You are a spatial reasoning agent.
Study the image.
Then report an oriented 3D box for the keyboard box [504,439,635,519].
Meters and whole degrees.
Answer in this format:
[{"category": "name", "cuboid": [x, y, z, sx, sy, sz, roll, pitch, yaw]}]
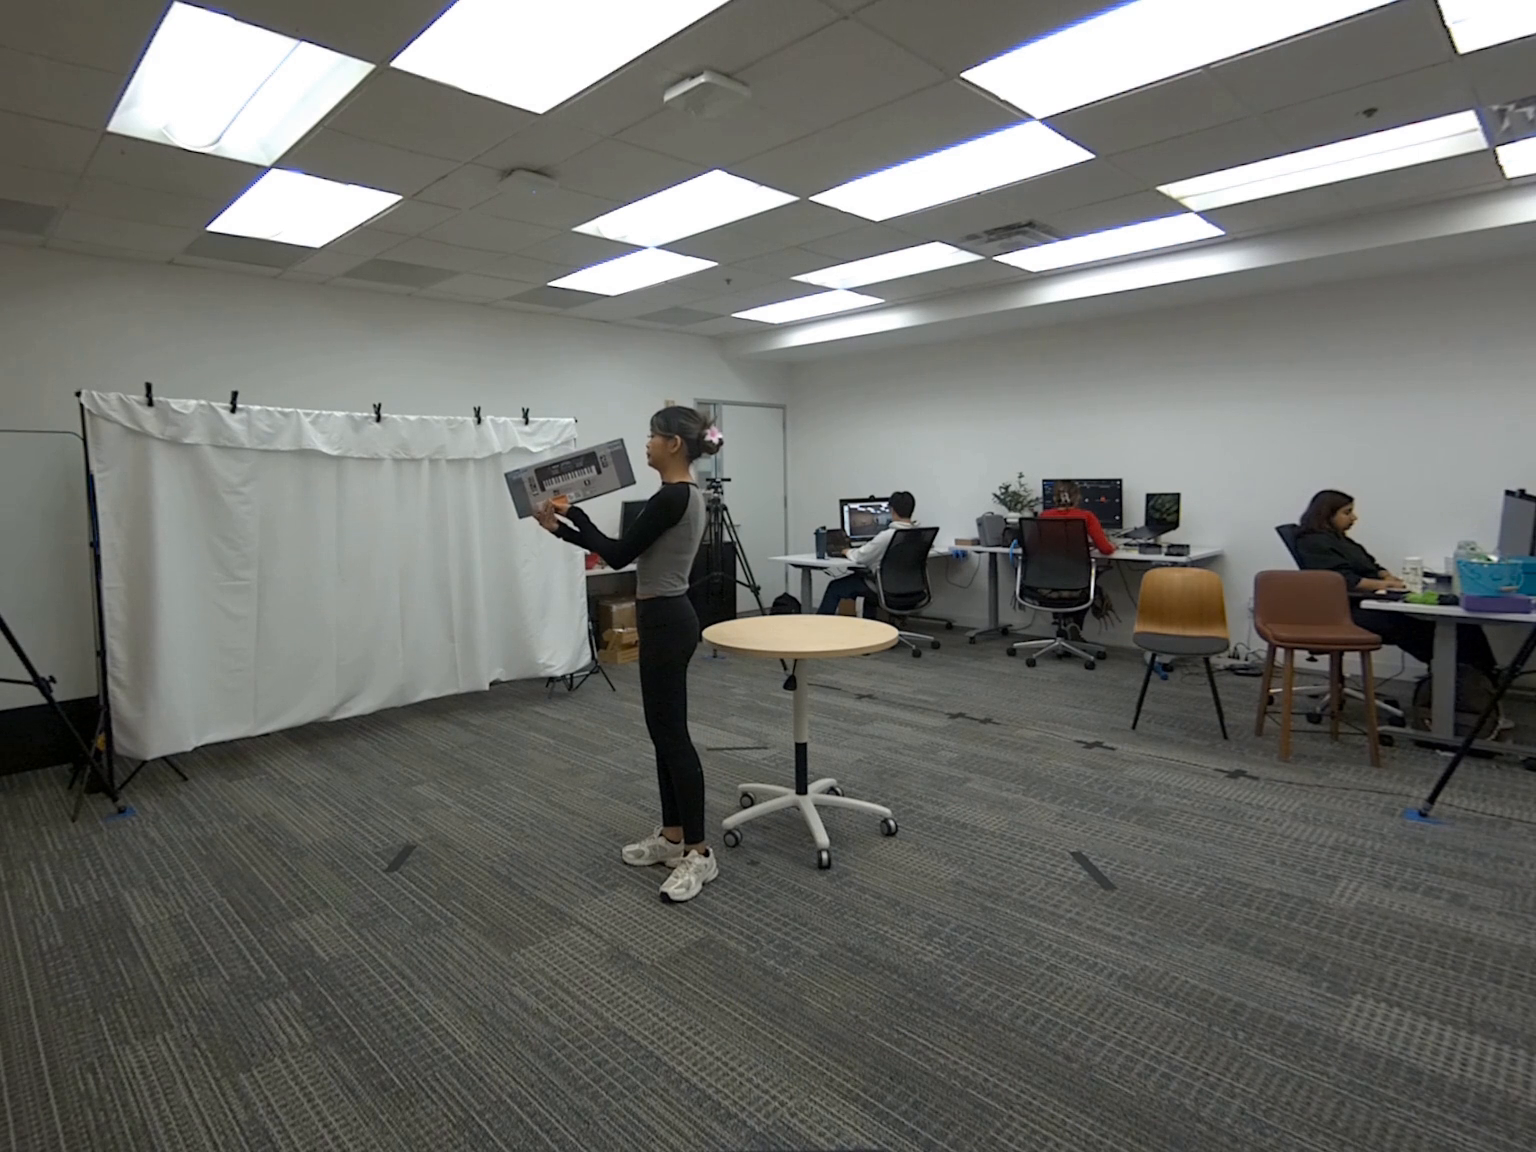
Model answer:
[{"category": "keyboard box", "cuboid": [-0.708, -0.351, 3.069, 0.436, 0.174, 0.060, -17, 8, -4]}]
